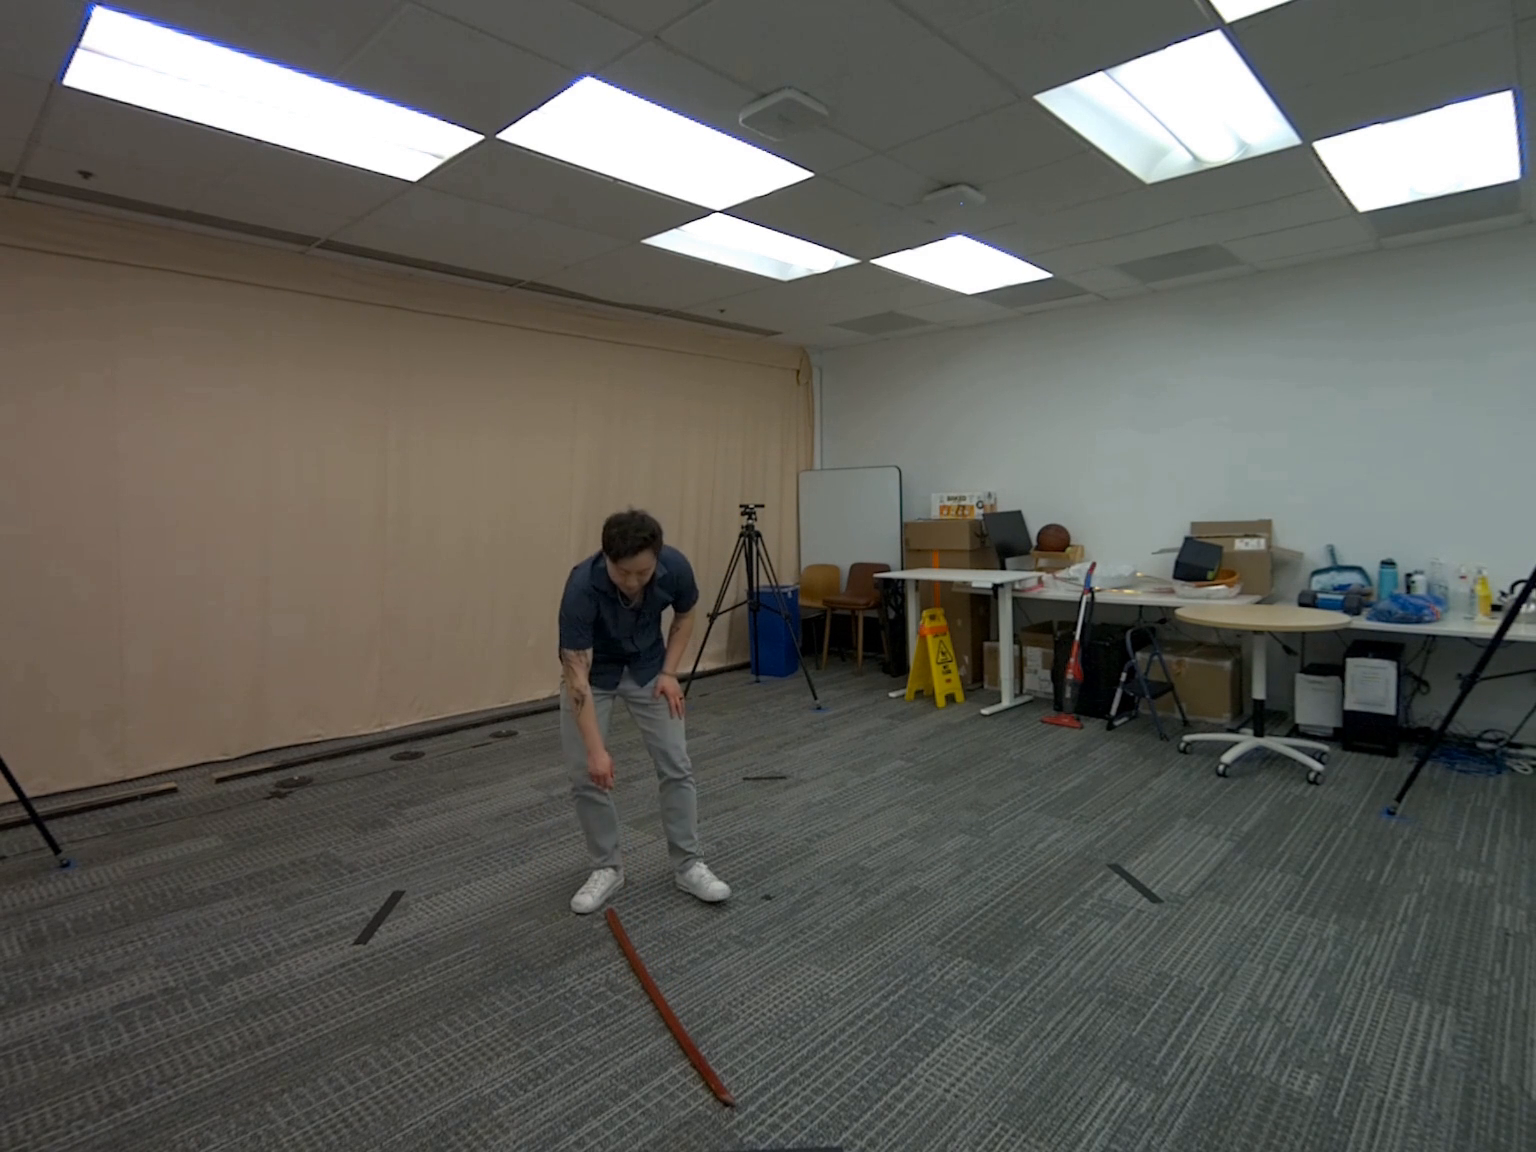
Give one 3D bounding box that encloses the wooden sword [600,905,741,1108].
[{"bbox_3d":[-0.319,1.176,2.429,0.050,0.024,1.051,2,3,-26],"label":"wooden sword"}]
